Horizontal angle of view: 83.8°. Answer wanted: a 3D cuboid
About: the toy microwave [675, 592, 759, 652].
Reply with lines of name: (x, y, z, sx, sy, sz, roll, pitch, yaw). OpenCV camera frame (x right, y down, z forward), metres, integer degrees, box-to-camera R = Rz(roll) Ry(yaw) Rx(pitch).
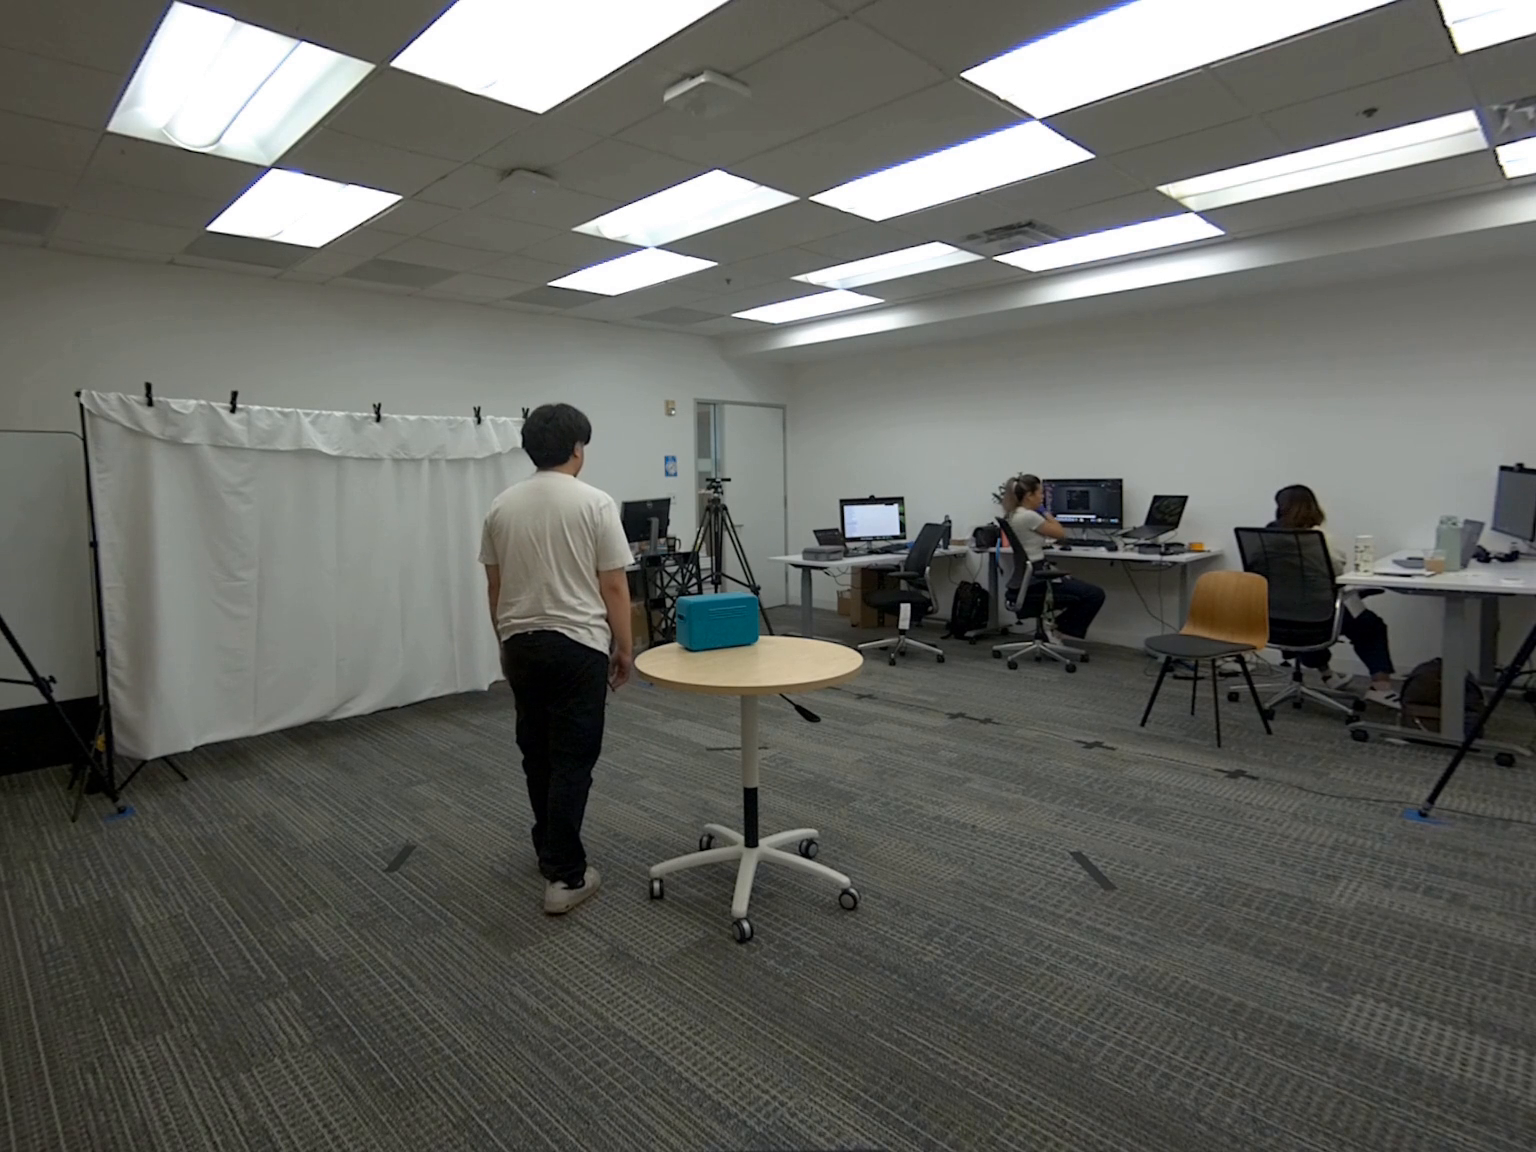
toy microwave: (-0.184, 0.162, 3.095, 0.280, 0.183, 0.156, -4, 6, -28)
